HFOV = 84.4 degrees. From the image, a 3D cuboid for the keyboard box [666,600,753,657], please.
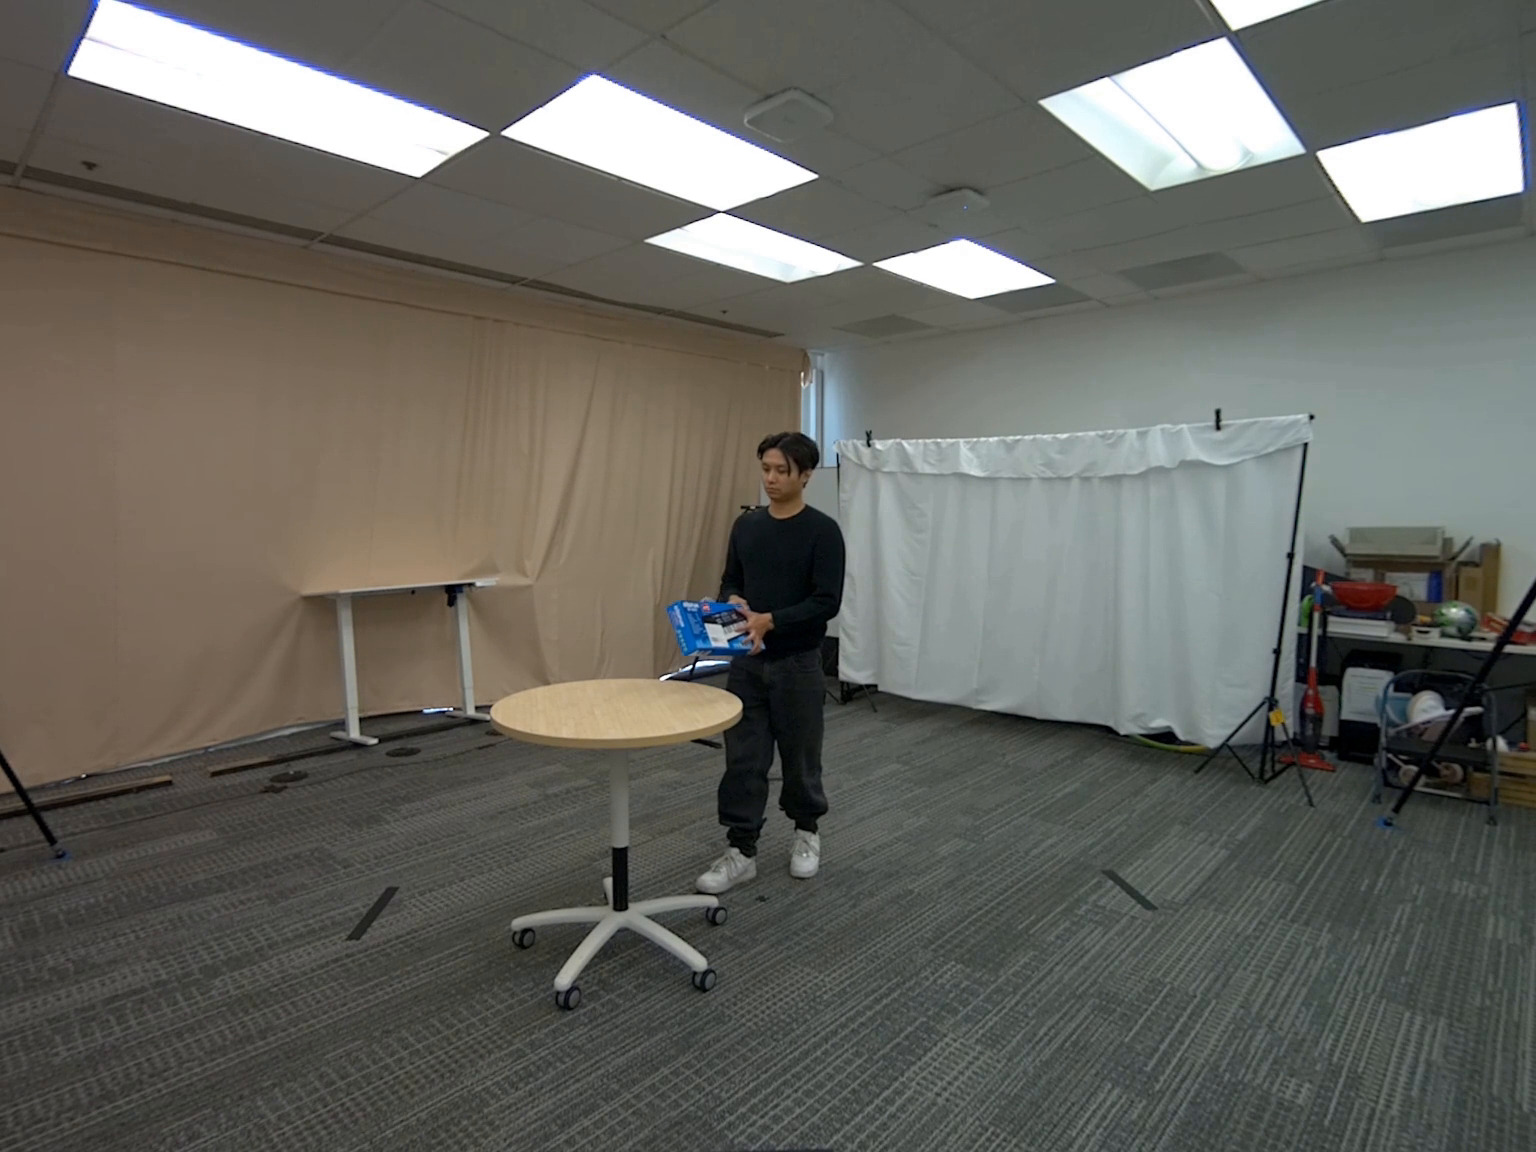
[{"bbox_3d":[-0.165,0.186,2.822,0.060,0.179,0.423,-31,-21,26],"label":"keyboard box"}]
